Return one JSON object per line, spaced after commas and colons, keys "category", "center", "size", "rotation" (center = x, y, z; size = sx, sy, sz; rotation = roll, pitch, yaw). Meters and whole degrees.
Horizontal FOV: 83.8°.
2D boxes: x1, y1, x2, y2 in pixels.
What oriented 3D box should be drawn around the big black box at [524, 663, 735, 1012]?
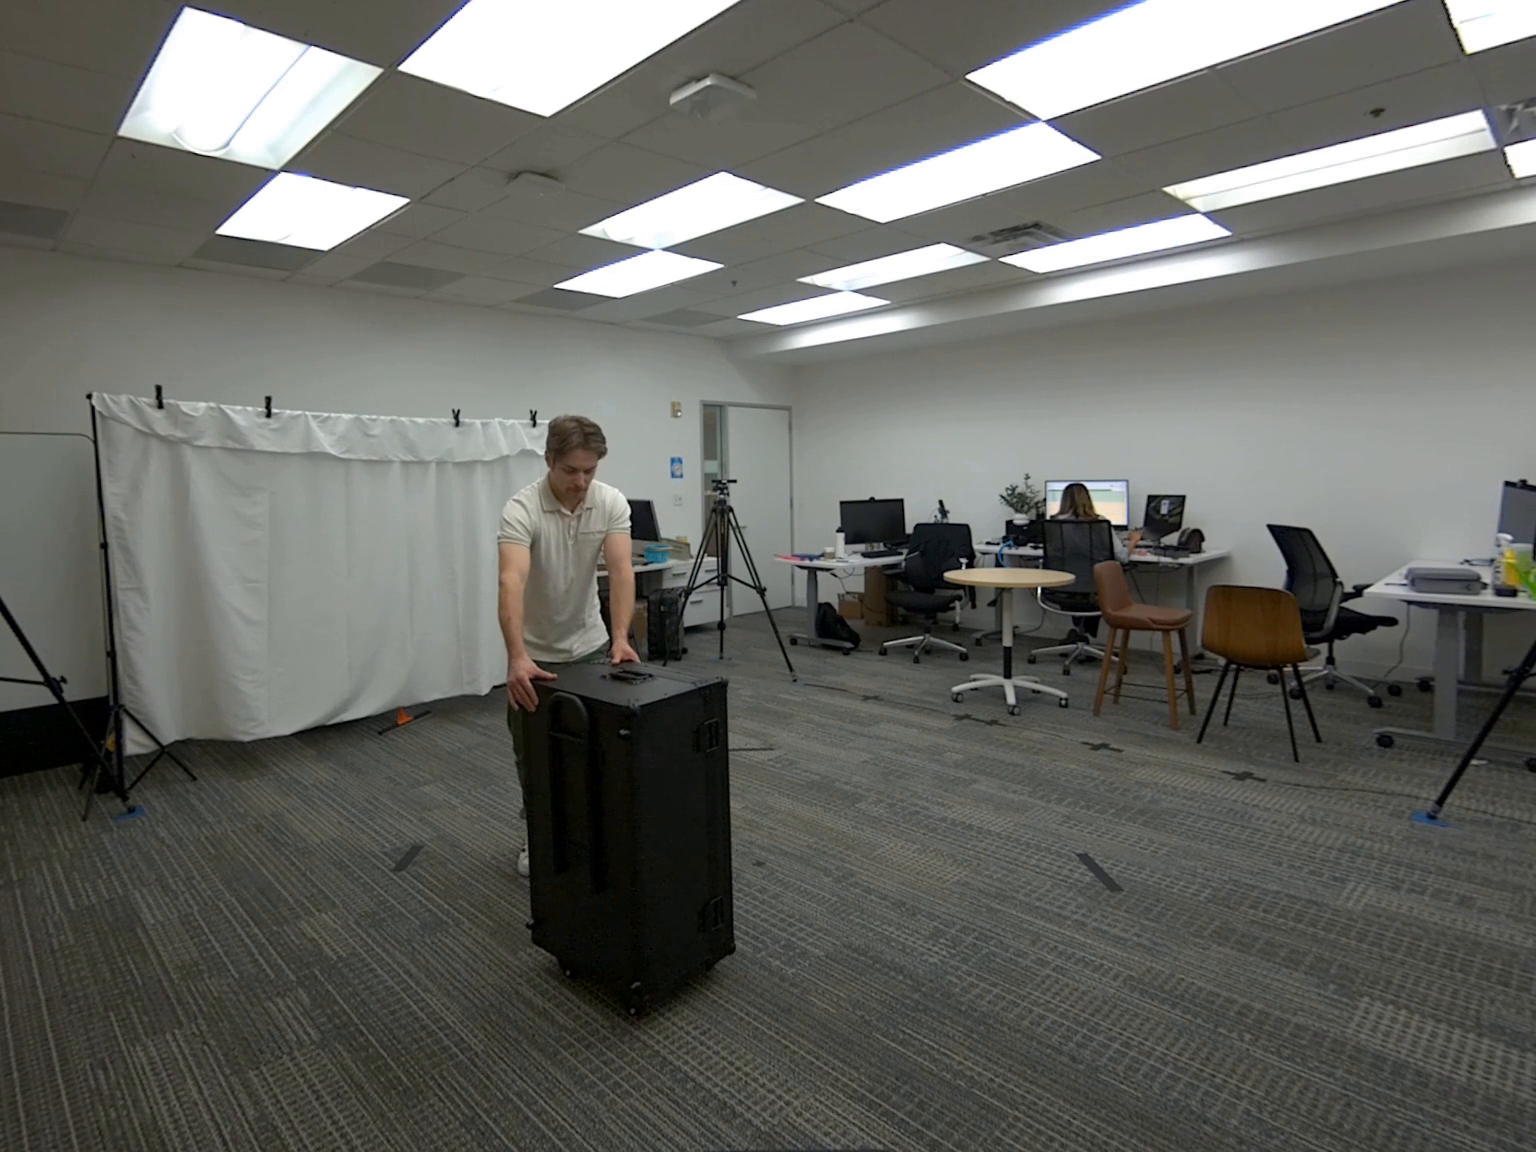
{"category": "big black box", "center": [-0.389, 0.713, 2.410], "size": [0.539, 0.865, 0.375], "rotation": [2, 5, 41]}
